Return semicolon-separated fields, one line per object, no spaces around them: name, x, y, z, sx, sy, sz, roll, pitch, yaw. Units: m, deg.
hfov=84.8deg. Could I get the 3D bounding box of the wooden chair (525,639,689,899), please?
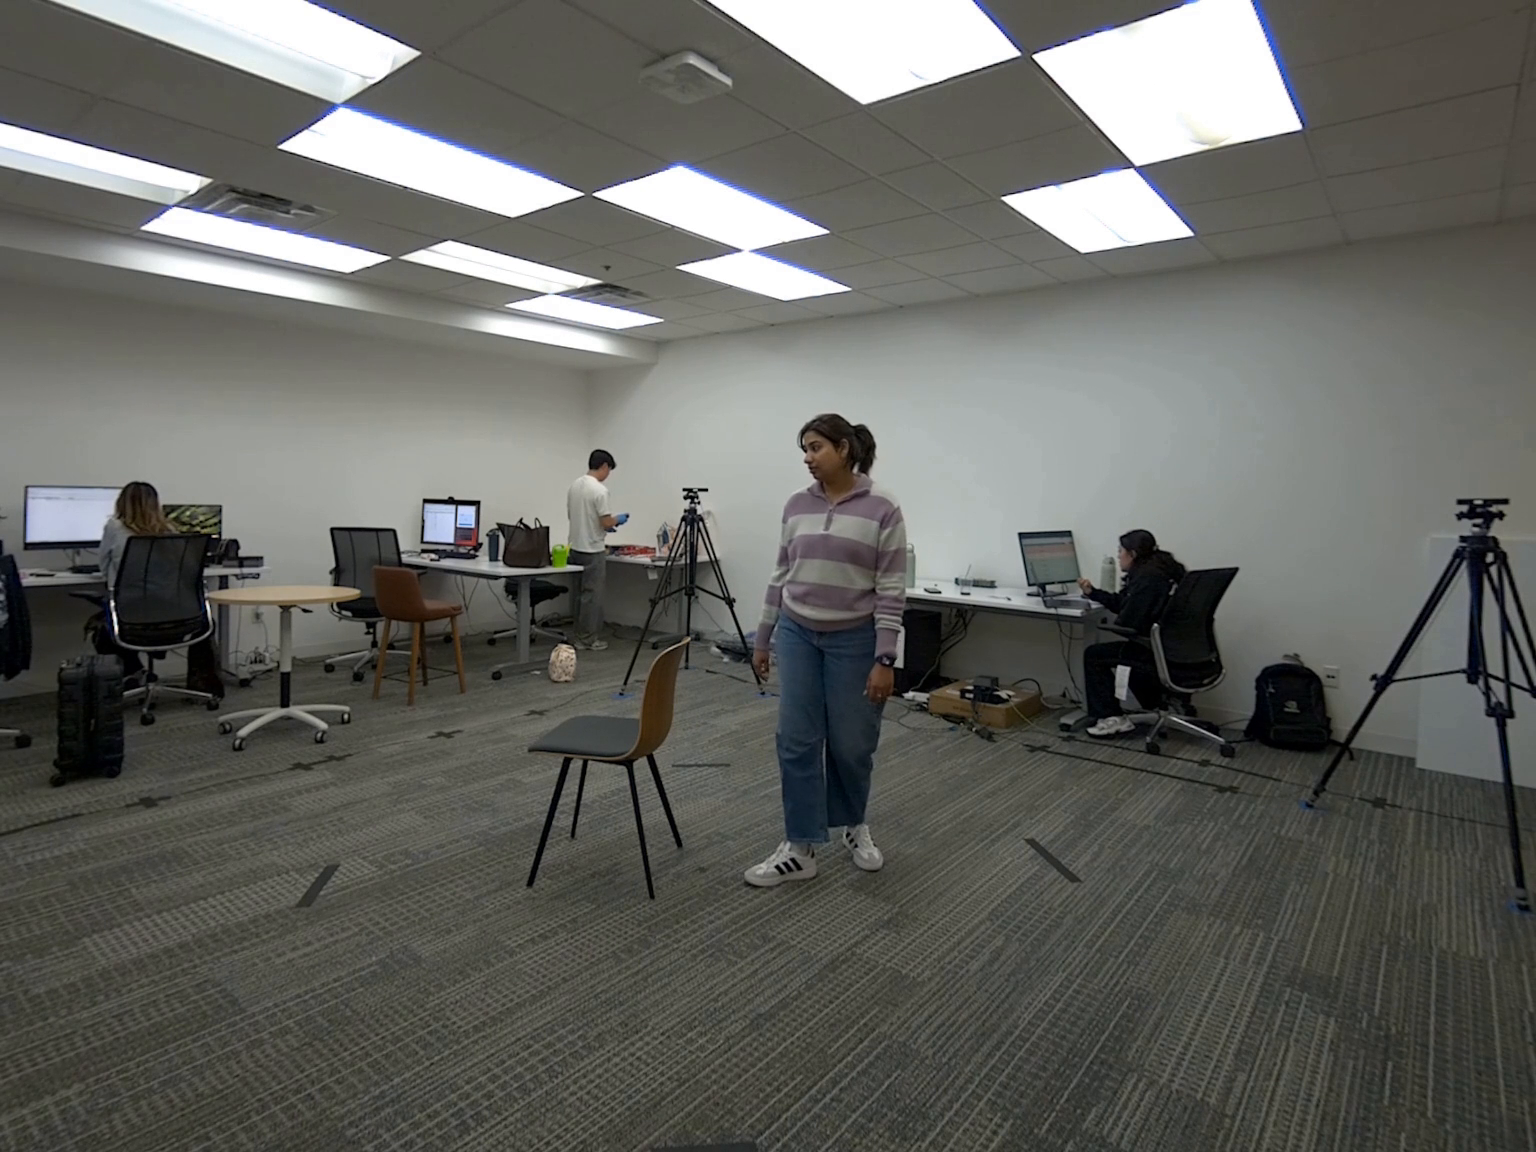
wooden chair;-0.595;0.636;3.104;0.529;0.874;0.474;5;4;9
